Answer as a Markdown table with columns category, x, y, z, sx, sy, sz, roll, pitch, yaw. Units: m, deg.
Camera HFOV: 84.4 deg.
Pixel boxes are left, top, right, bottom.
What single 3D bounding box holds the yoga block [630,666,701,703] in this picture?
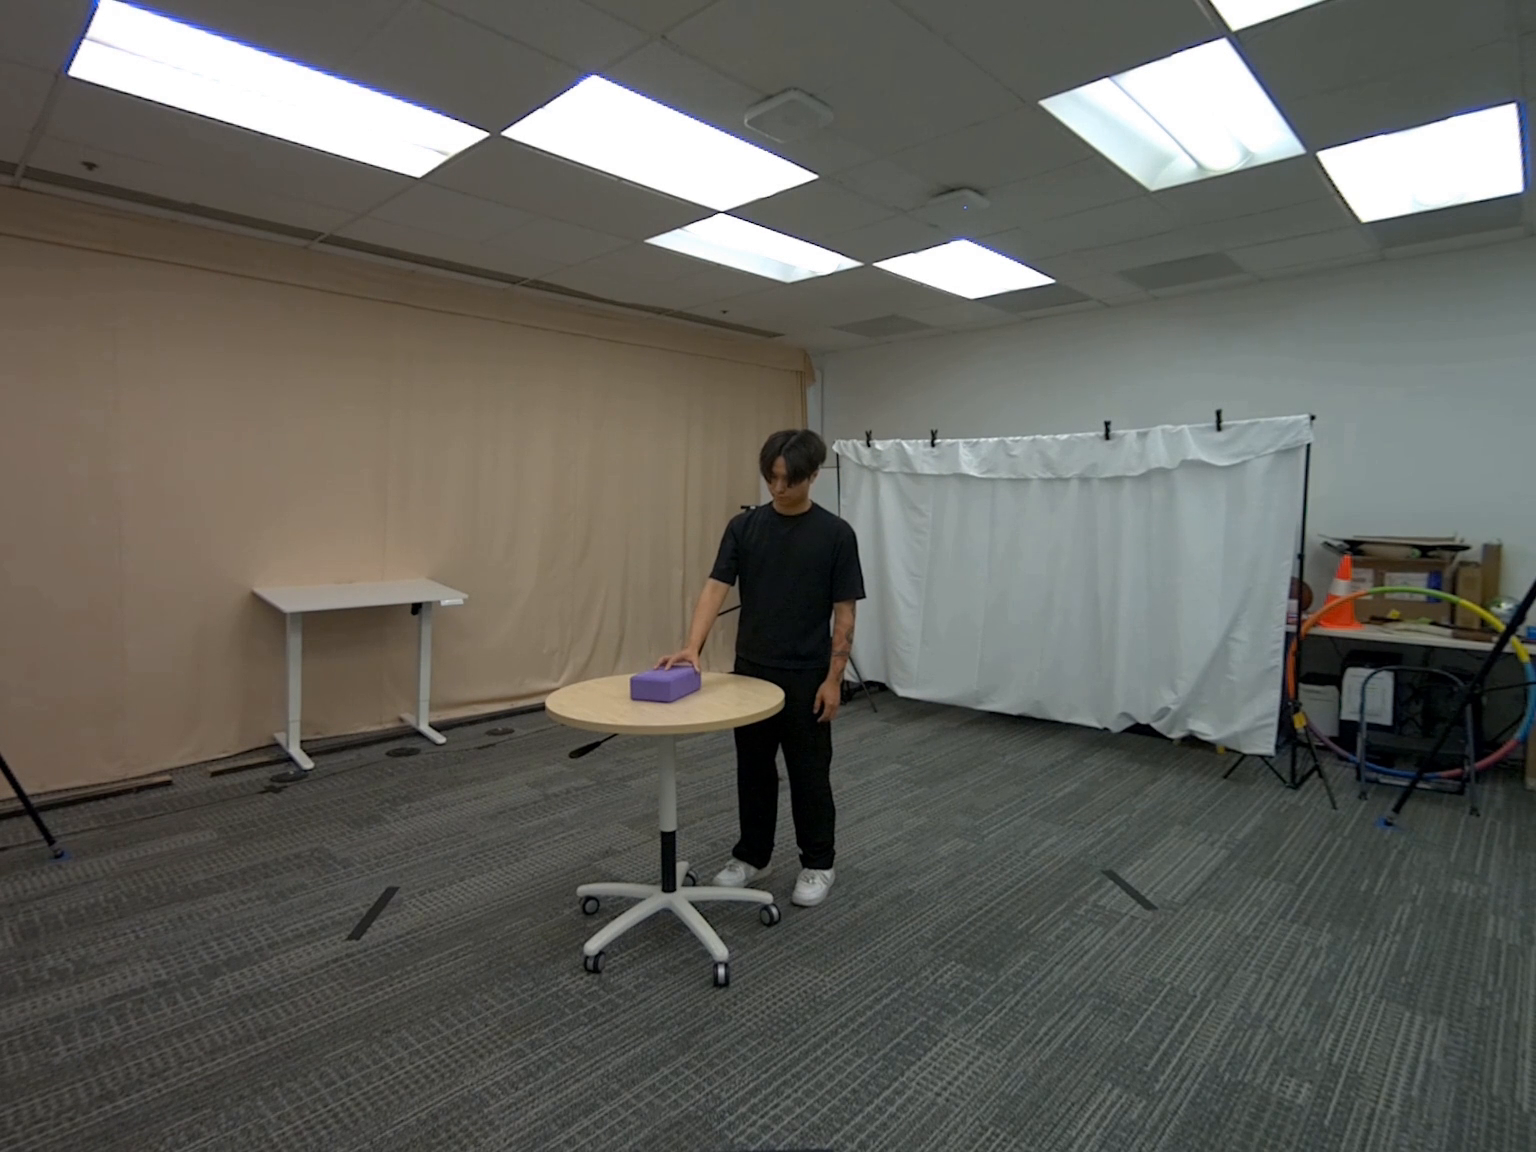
| category | x | y | z | sx | sy | sz | roll | pitch | yaw |
| --- | --- | --- | --- | --- | --- | --- | --- | --- | --- |
| yoga block | -0.330 | 0.348 | 2.717 | 0.152 | 0.076 | 0.225 | 1 | 5 | 21 |
